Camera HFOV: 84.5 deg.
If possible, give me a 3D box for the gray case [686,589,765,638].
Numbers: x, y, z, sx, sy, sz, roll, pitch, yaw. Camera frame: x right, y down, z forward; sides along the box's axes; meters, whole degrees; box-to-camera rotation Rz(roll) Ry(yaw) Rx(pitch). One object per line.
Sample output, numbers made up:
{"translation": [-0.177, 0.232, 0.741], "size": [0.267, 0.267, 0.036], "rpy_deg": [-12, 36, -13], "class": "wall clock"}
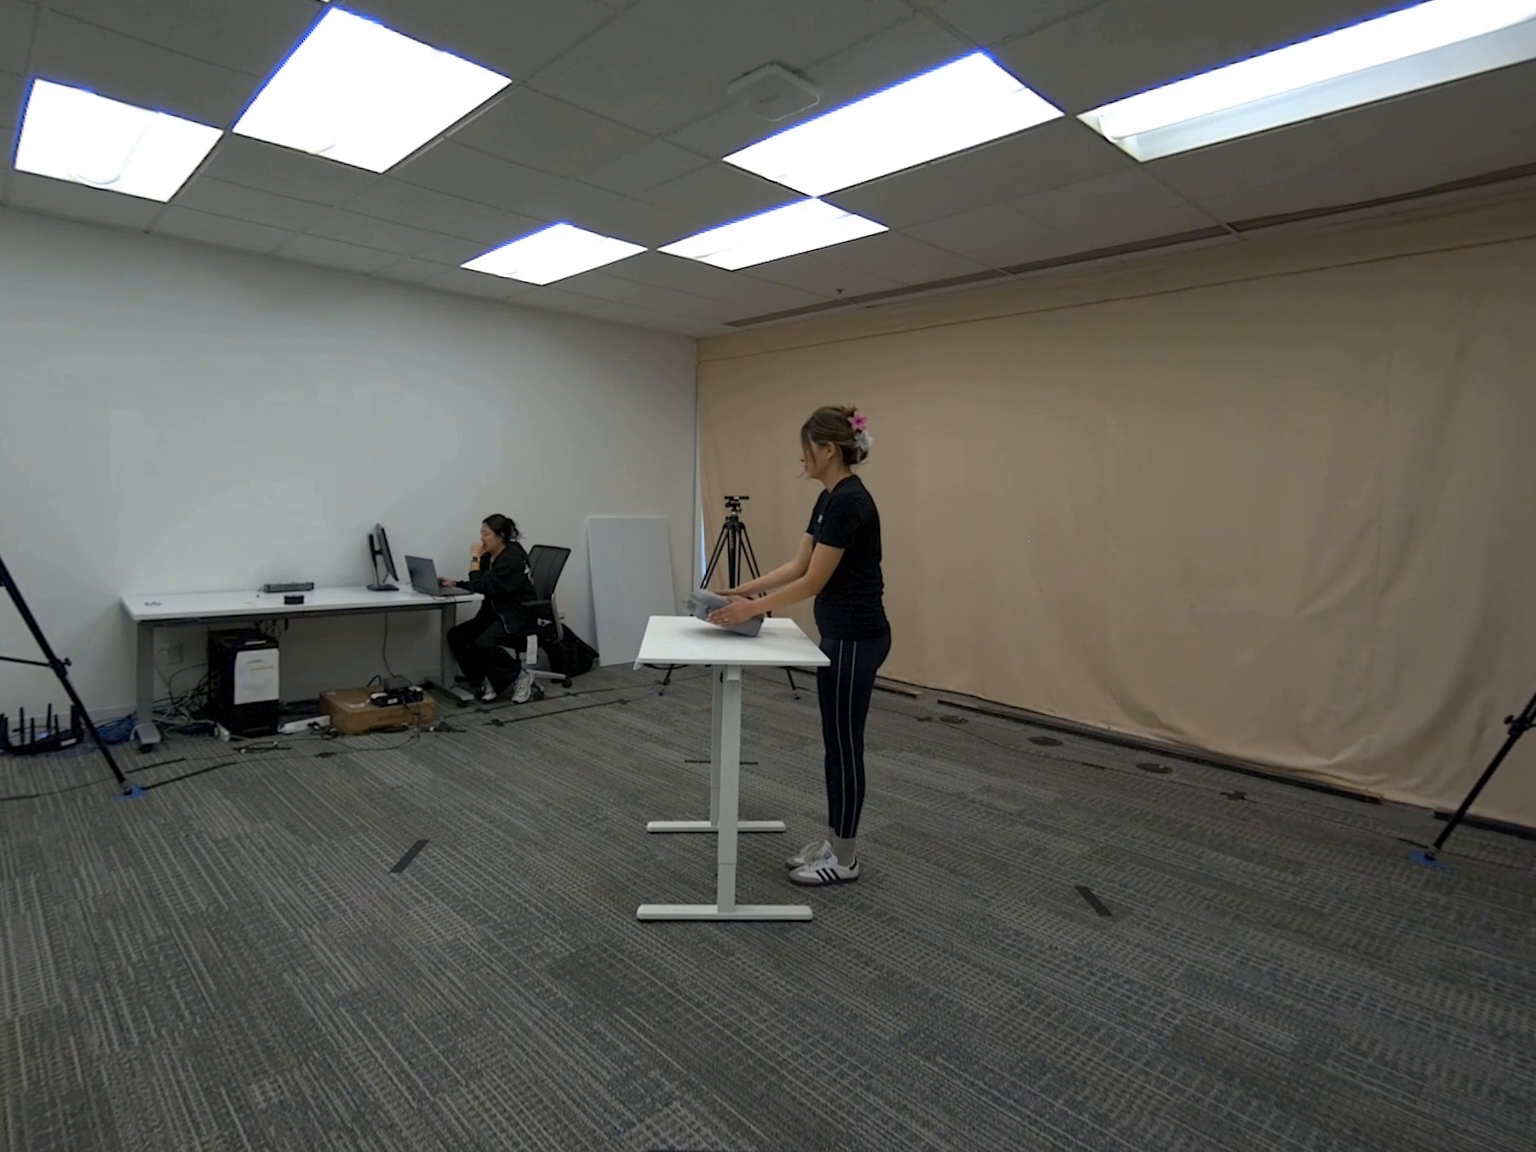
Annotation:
{"translation": [-0.163, 0.131, 3.165], "size": [0.257, 0.104, 0.260], "rpy_deg": [16, 0, -13], "class": "gray case"}
